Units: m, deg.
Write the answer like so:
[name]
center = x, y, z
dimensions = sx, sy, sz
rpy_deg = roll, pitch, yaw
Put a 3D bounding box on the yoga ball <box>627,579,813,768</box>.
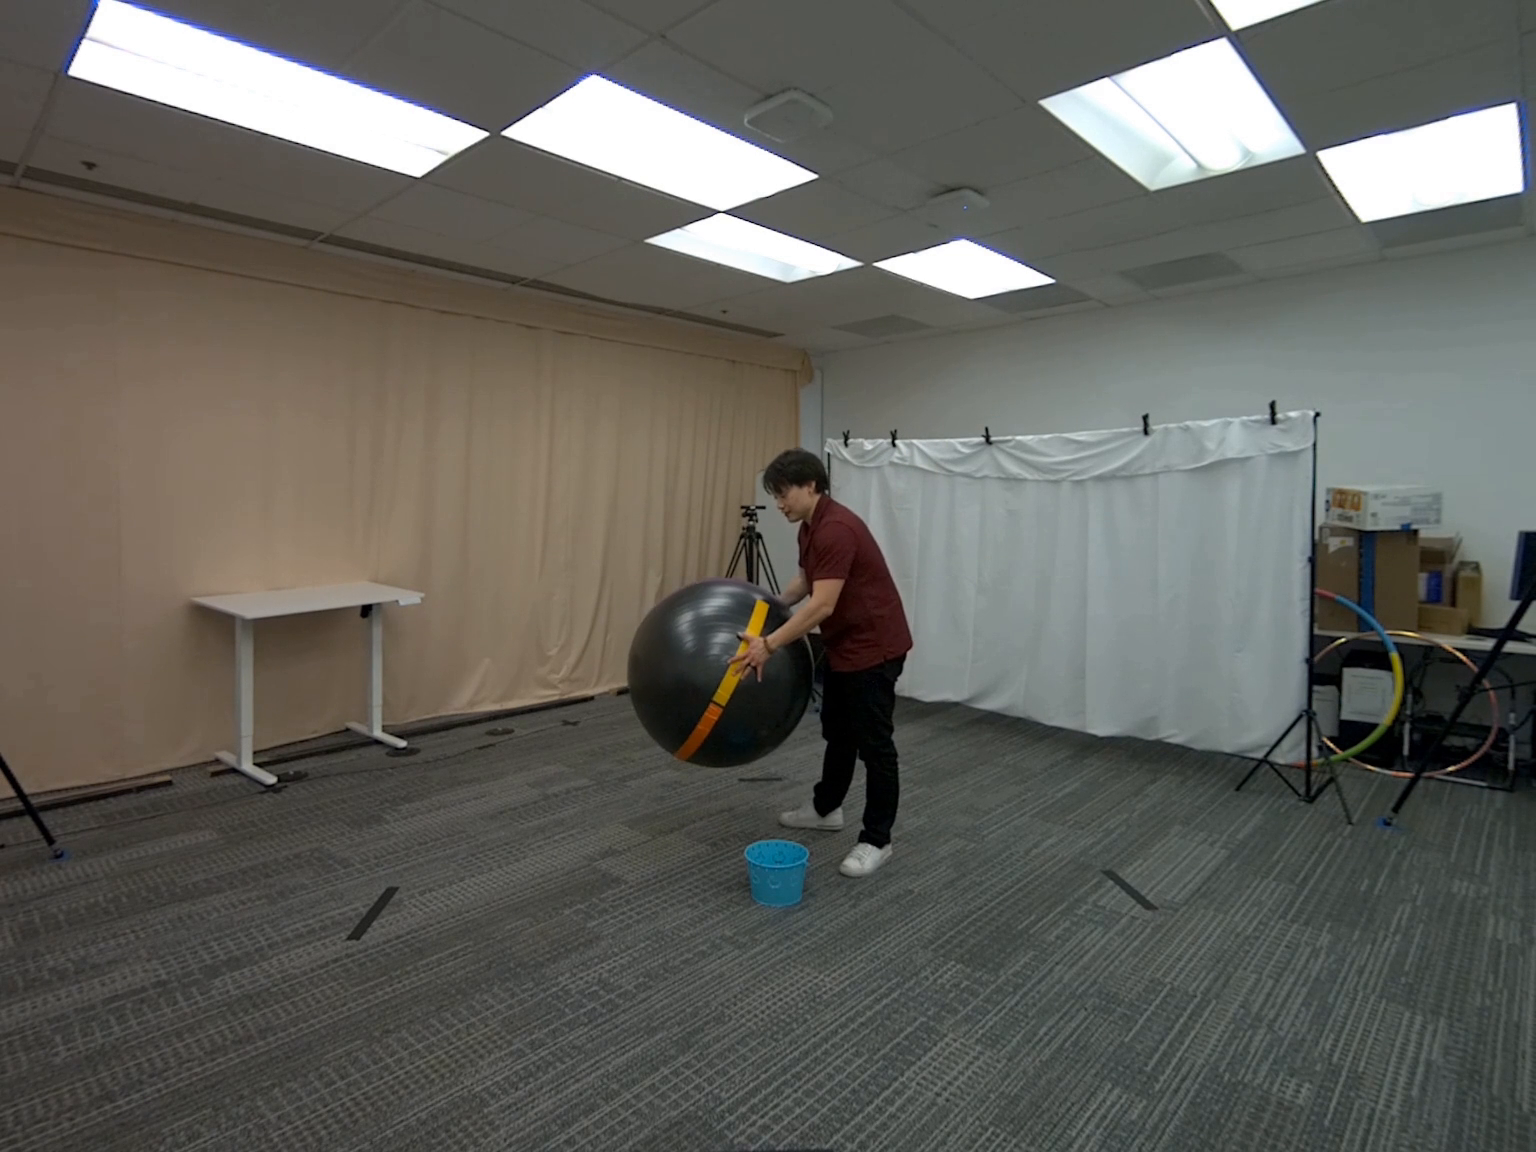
[yoga ball]
center = -0.192, 0.402, 3.427
dimensions = 0.757, 0.756, 0.760
rpy_deg = 0, 4, -2
